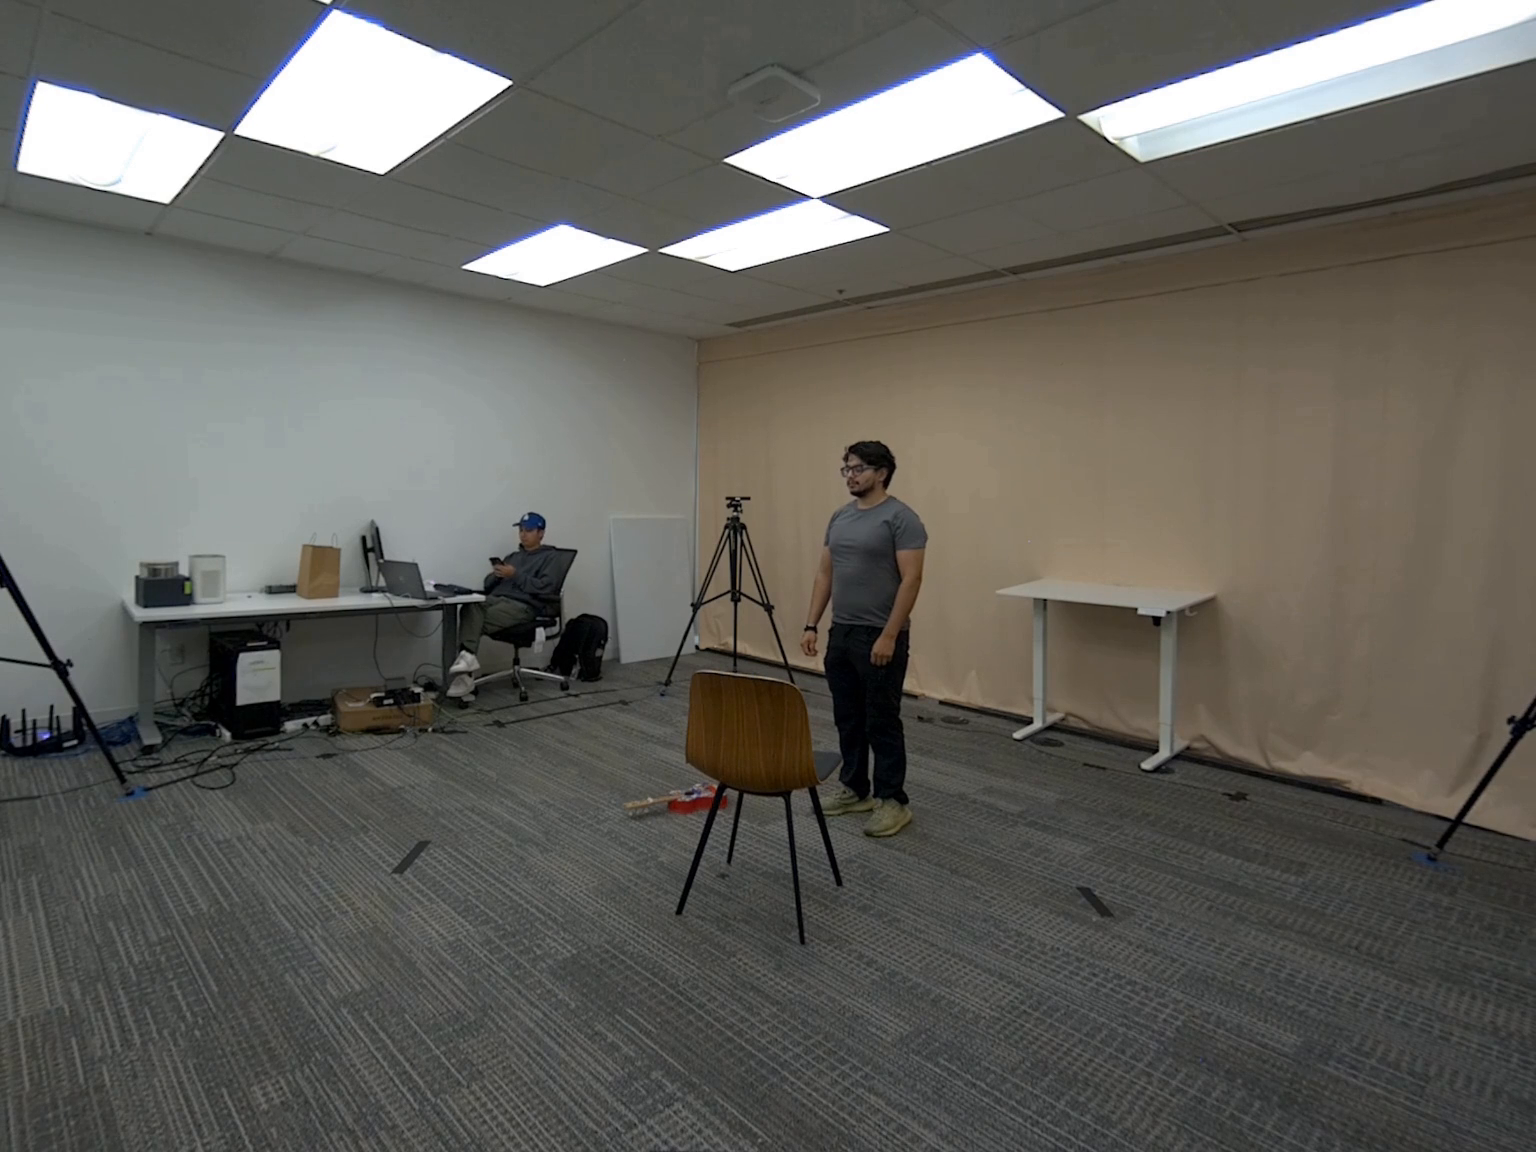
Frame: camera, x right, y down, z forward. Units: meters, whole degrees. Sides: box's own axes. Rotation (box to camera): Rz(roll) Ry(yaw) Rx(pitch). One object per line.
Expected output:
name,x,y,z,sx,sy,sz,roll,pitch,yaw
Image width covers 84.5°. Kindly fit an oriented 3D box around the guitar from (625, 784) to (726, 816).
guitar,-0.443,1.010,3.787,0.489,0.070,0.197,-1,6,-25
